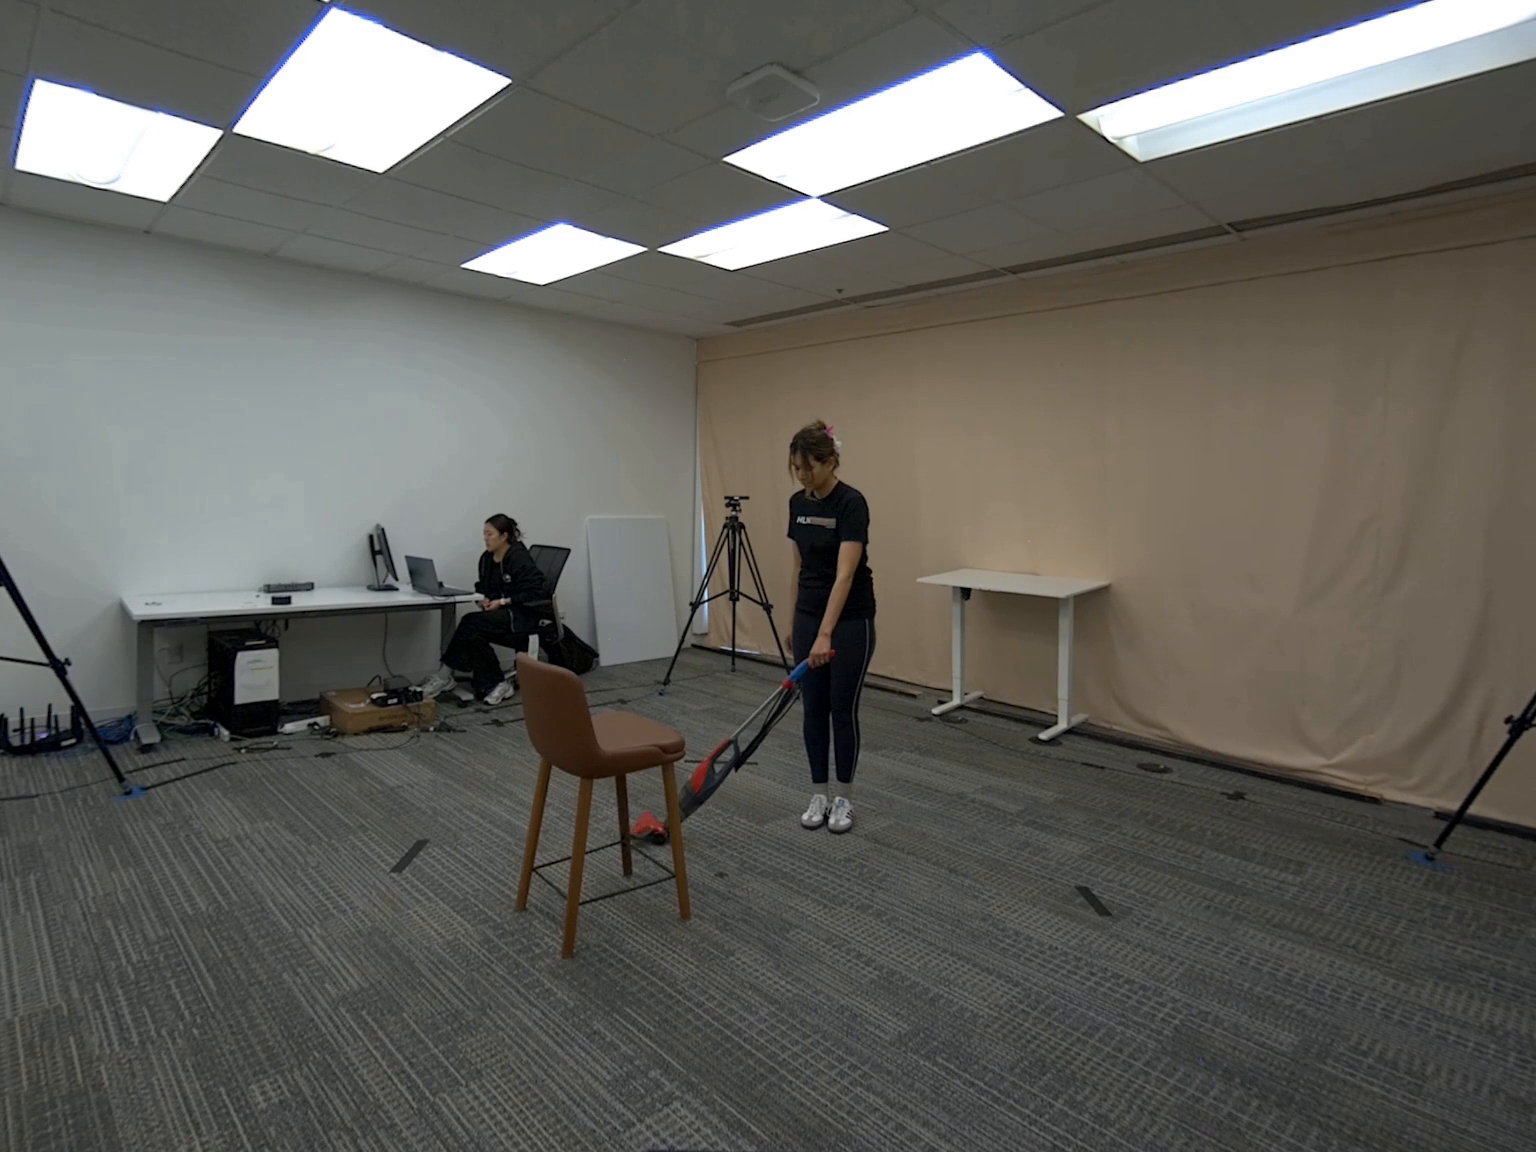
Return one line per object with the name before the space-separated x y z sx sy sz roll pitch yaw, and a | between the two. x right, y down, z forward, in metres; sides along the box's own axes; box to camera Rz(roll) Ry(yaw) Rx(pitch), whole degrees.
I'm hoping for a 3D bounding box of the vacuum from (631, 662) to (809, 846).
vacuum | -0.111 0.677 3.340 0.144 1.050 0.251 46 10 2
